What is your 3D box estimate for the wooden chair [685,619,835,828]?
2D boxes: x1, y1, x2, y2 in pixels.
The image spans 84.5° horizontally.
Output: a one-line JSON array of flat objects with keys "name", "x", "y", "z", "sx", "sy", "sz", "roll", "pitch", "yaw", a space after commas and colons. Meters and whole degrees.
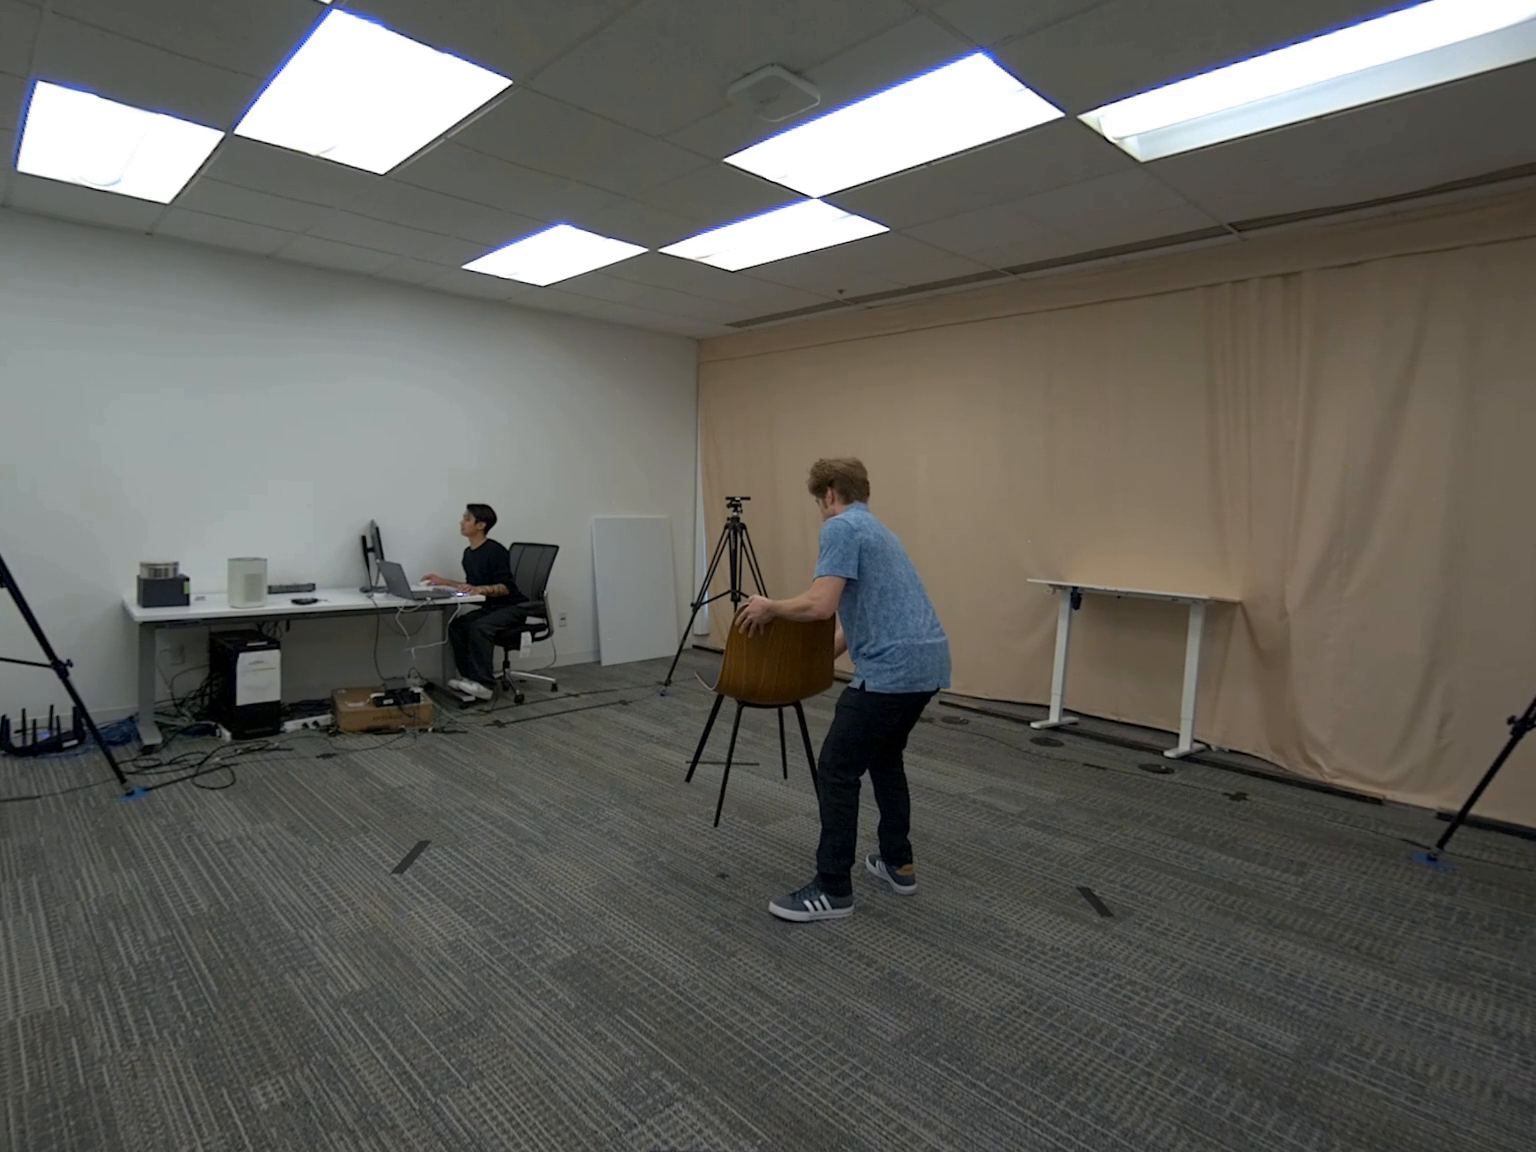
[{"name": "wooden chair", "x": -0.035, "y": 0.473, "z": 3.304, "sx": 0.471, "sy": 0.872, "sz": 0.534, "roll": 2, "pitch": 9, "yaw": -19}]
